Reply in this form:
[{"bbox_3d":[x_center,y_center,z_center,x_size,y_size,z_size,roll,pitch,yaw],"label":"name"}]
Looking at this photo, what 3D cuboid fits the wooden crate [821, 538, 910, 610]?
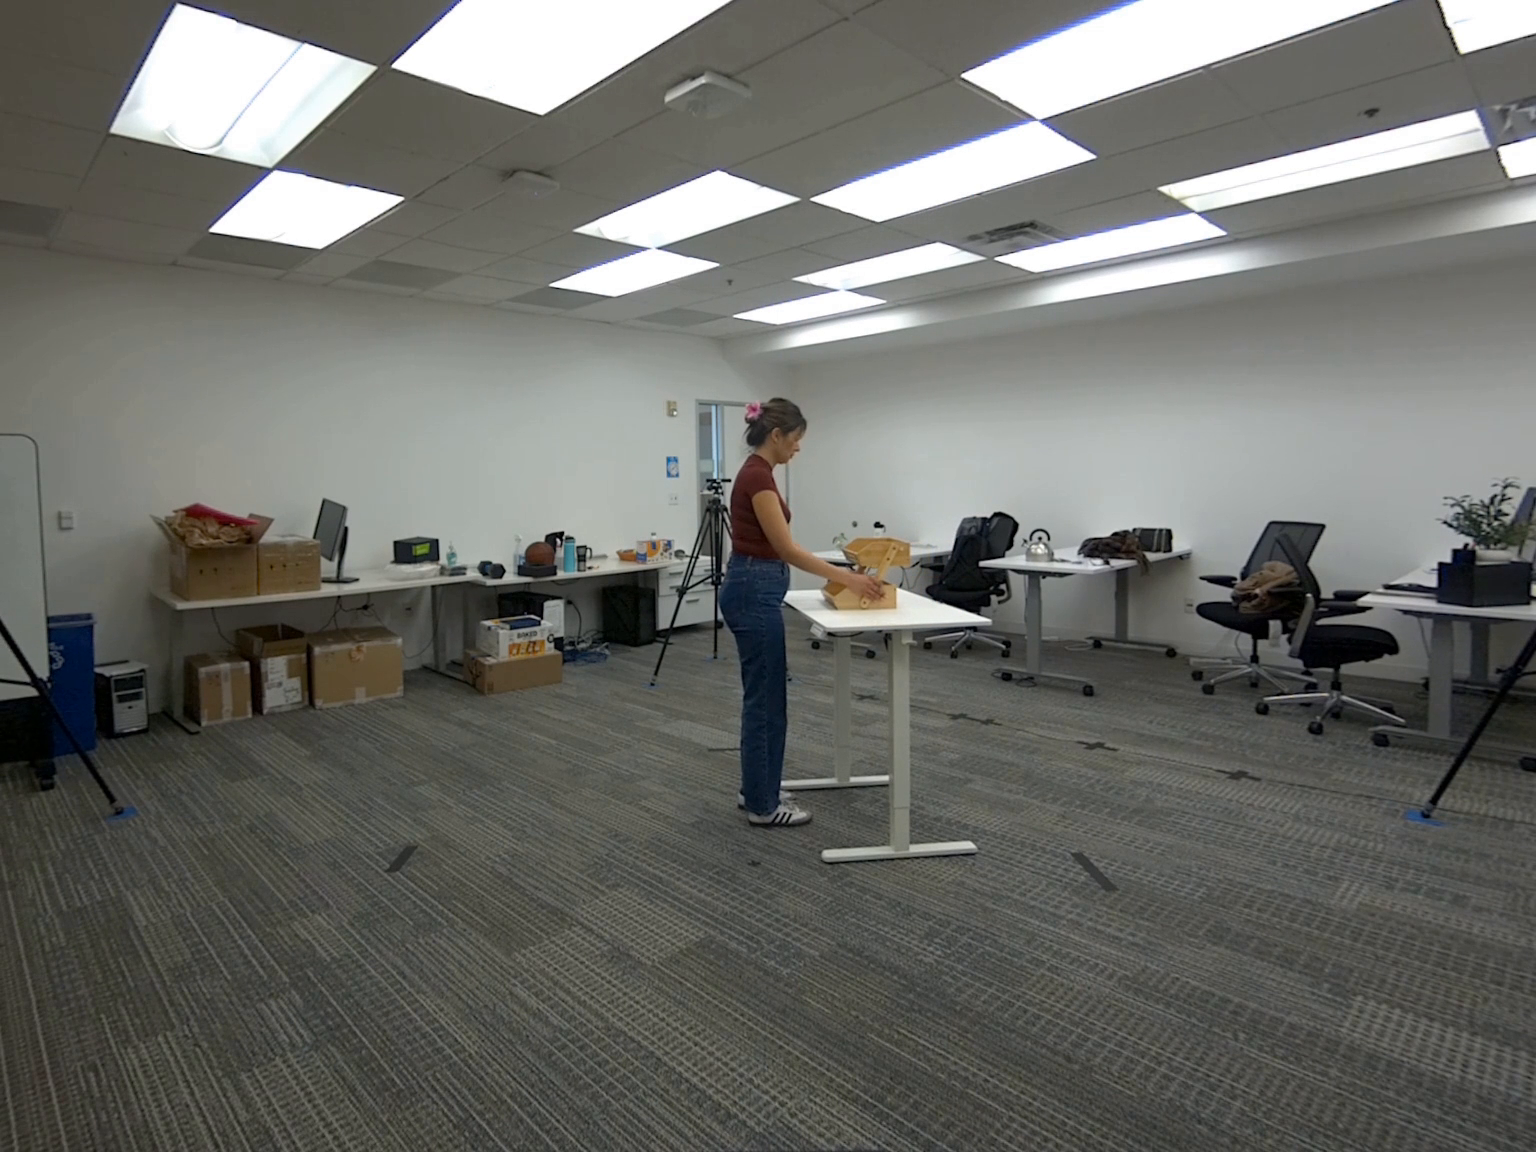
[{"bbox_3d":[0.380,-0.018,3.465,0.301,0.272,0.327,0,5,-4],"label":"wooden crate"}]
